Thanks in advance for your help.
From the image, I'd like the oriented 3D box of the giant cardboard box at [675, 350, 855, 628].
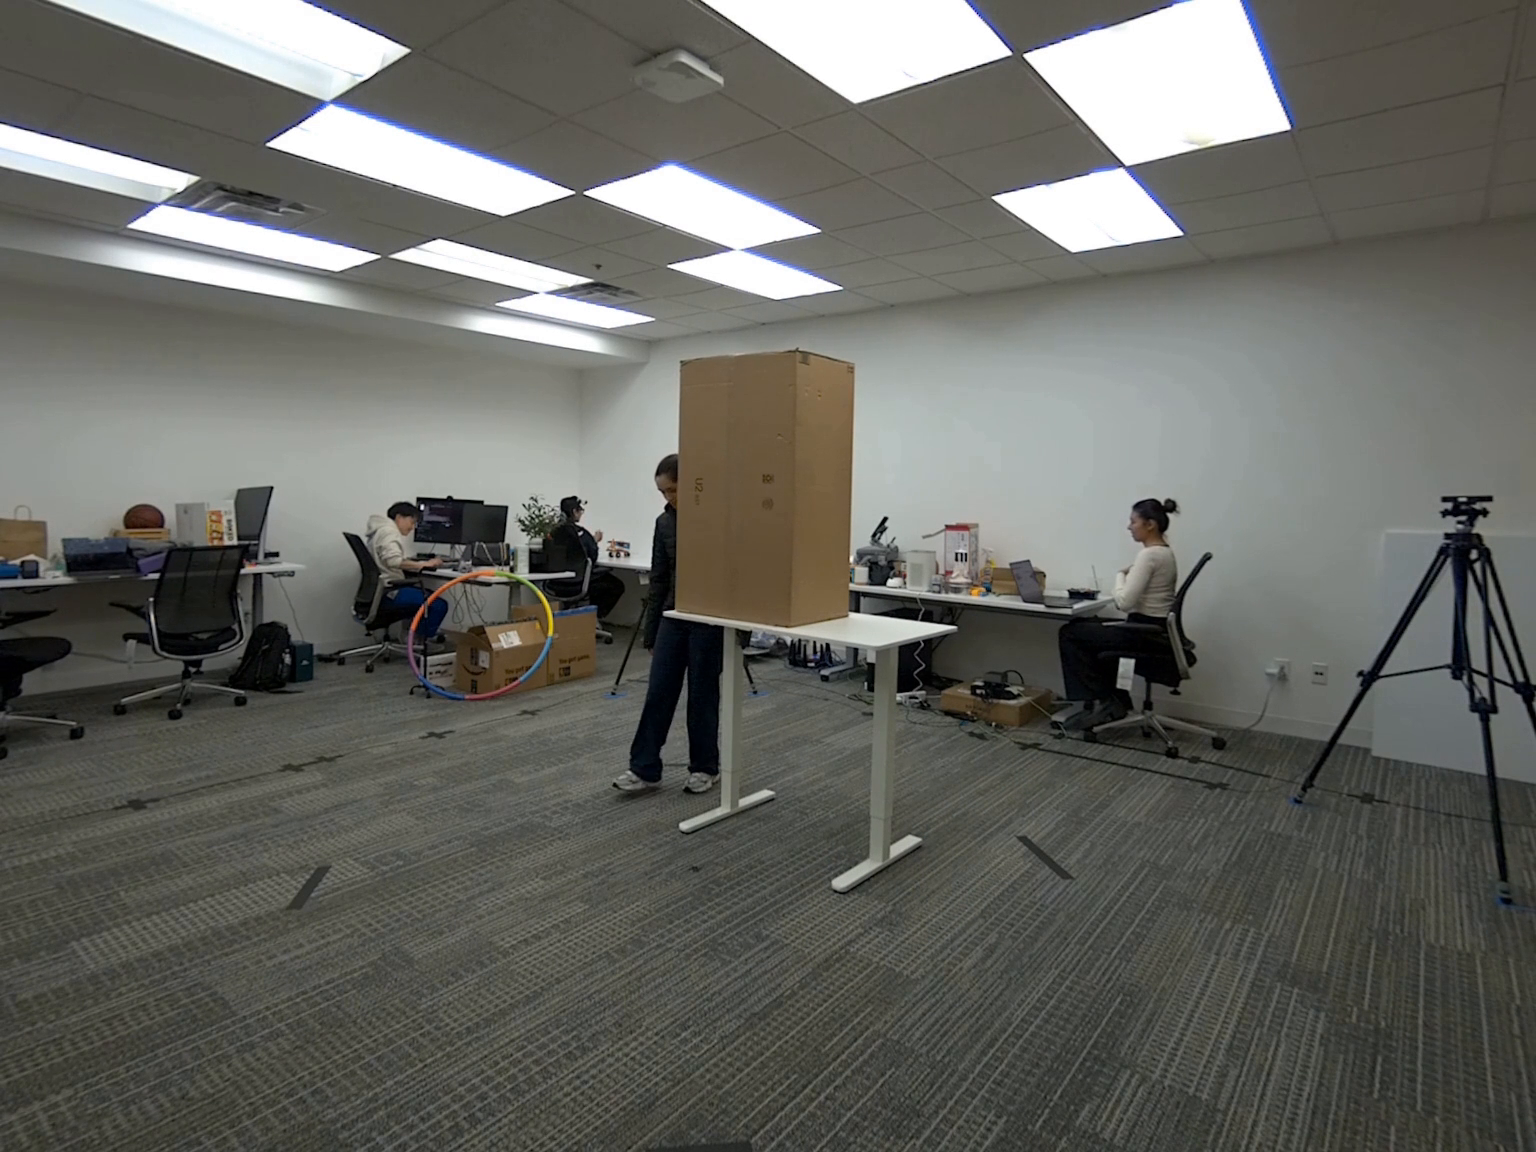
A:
[{"bbox_3d":[0.005,-0.356,3.455,0.597,1.023,0.413,4,4,38],"label":"giant cardboard box"}]
